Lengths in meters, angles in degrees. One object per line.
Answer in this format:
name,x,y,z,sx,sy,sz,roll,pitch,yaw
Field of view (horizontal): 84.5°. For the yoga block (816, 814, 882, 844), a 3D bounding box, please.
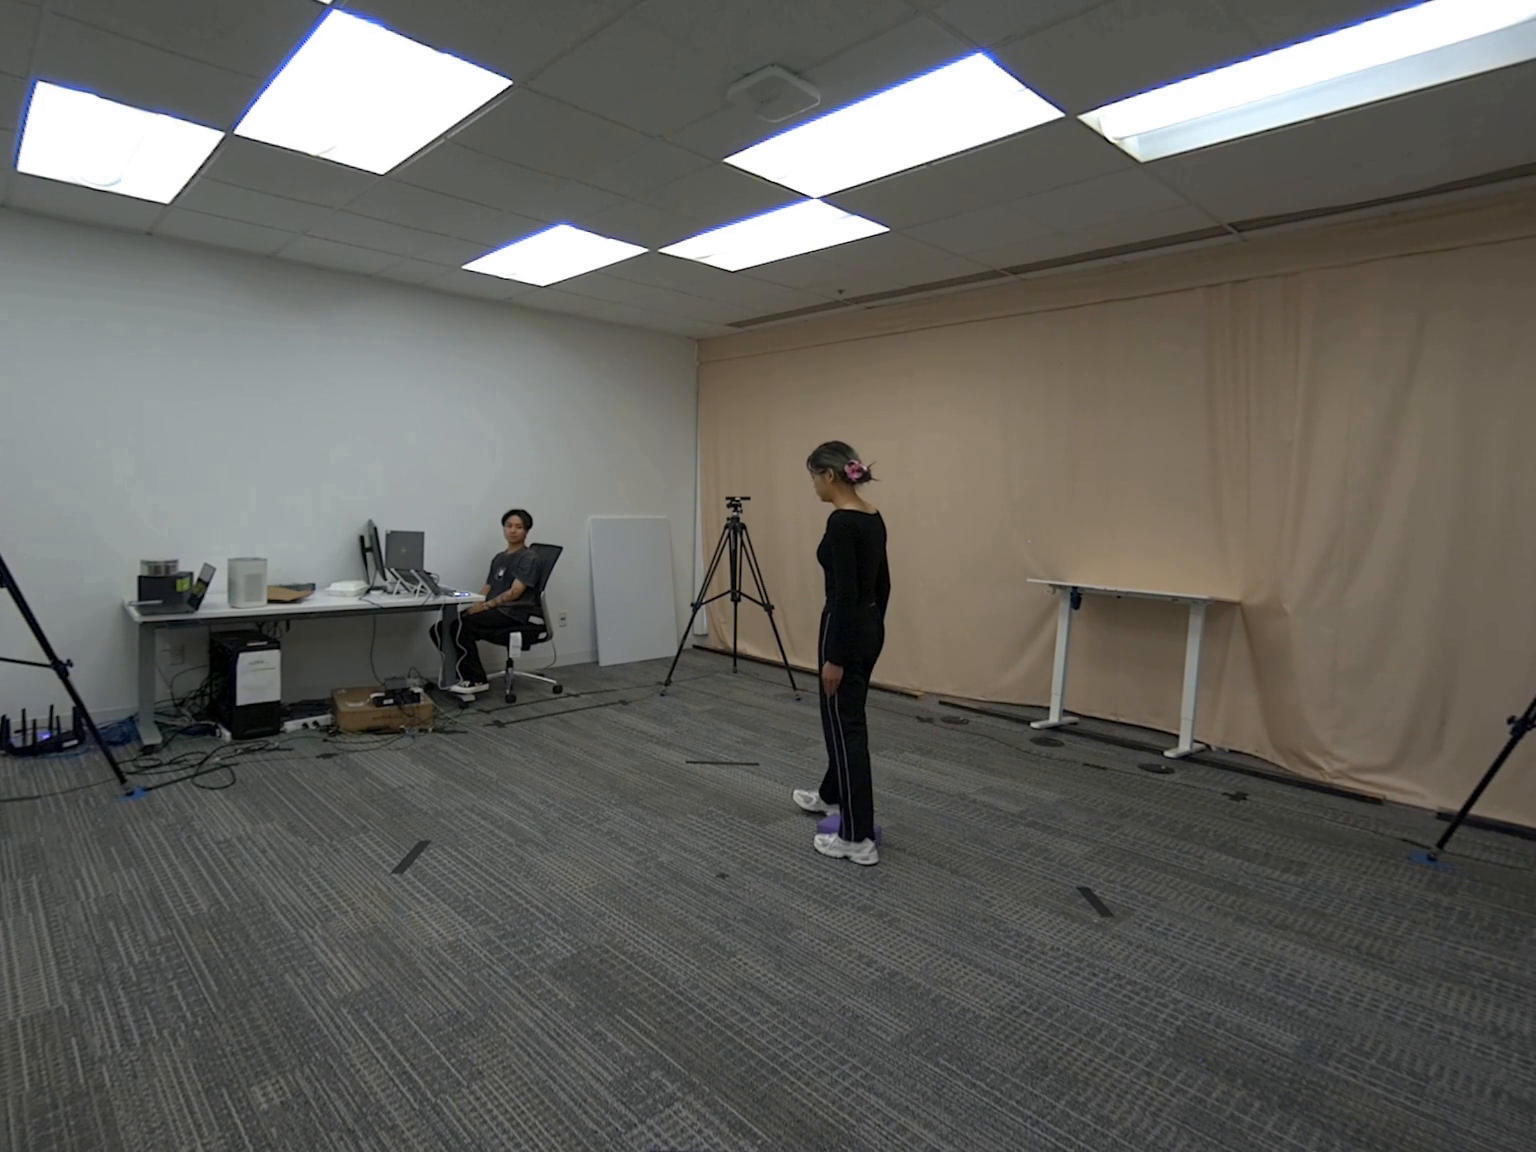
yoga block,0.323,1.052,3.435,0.235,0.076,0.146,6,7,34
